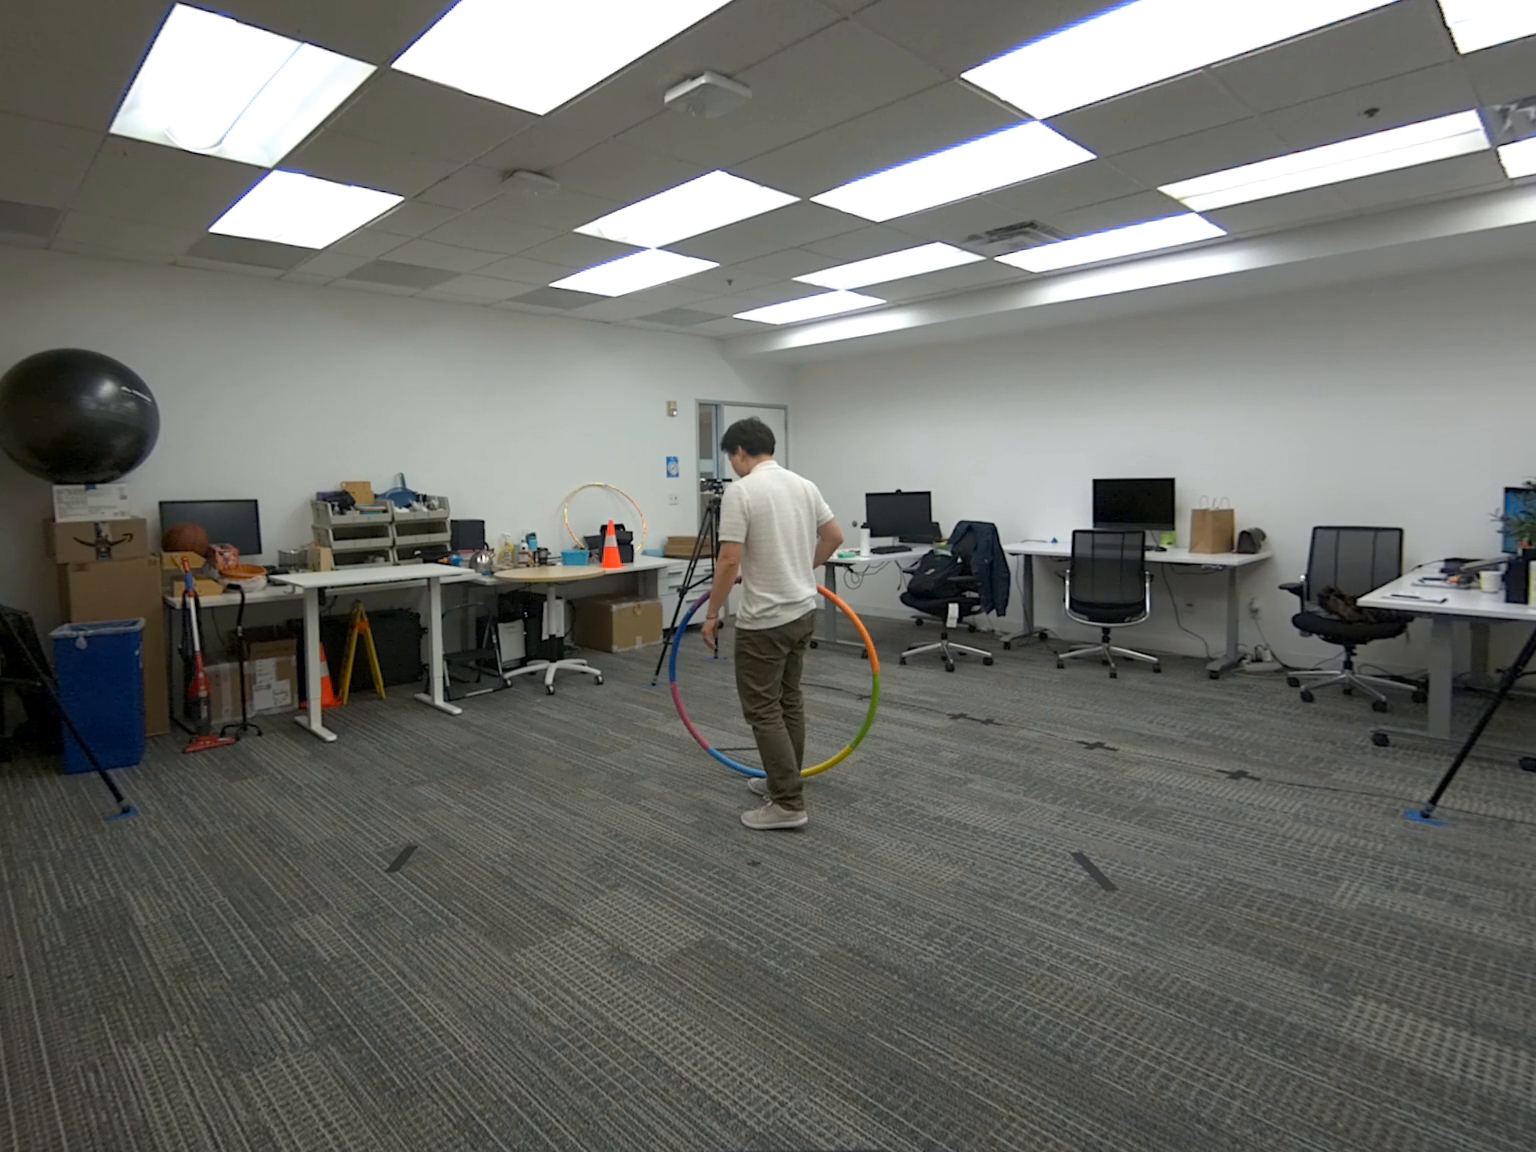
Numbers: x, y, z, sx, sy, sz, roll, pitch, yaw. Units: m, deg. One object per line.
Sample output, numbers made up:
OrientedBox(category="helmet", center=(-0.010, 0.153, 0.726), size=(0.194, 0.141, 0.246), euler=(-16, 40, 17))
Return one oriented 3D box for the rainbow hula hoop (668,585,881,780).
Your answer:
OrientedBox(category="rainbow hula hoop", center=(0.004, 0.461, 3.959), size=(0.994, 0.976, 0.035), euler=(1, 3, 17))
